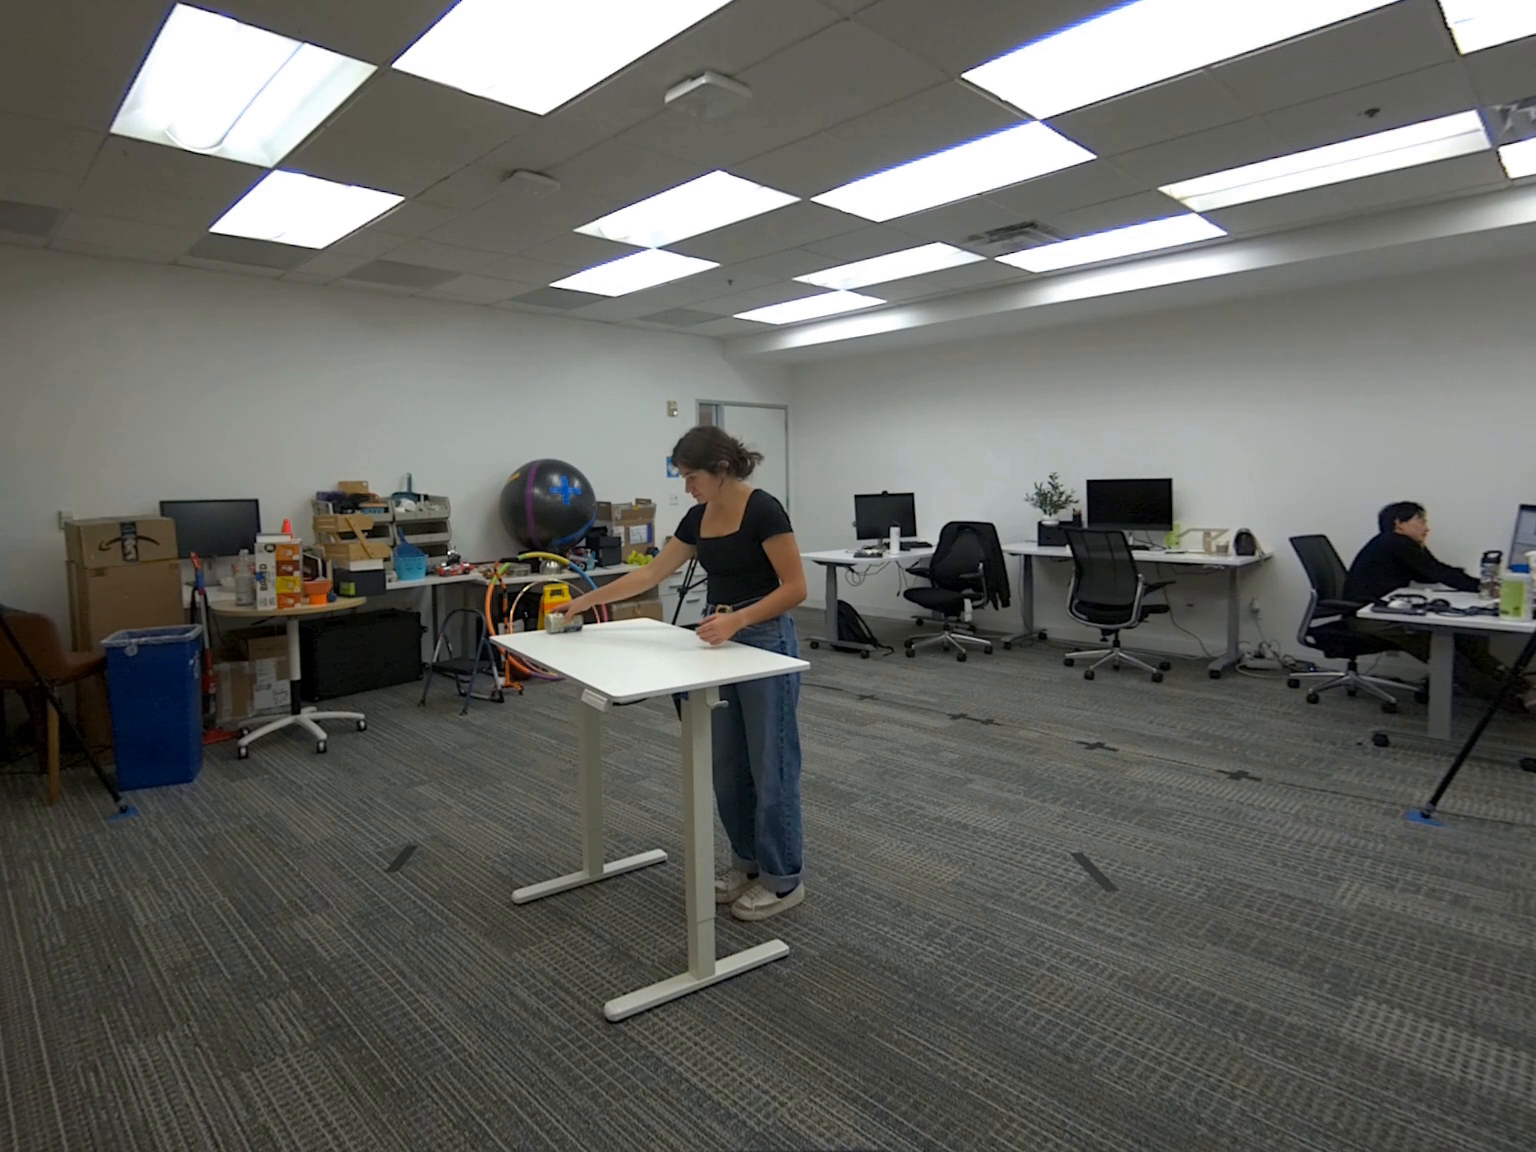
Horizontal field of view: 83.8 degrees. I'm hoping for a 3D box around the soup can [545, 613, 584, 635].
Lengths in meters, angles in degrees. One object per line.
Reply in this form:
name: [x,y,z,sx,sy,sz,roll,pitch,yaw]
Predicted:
soup can: [-0.699,0.162,2.950,0.119,0.067,0.069,1,4,-25]
